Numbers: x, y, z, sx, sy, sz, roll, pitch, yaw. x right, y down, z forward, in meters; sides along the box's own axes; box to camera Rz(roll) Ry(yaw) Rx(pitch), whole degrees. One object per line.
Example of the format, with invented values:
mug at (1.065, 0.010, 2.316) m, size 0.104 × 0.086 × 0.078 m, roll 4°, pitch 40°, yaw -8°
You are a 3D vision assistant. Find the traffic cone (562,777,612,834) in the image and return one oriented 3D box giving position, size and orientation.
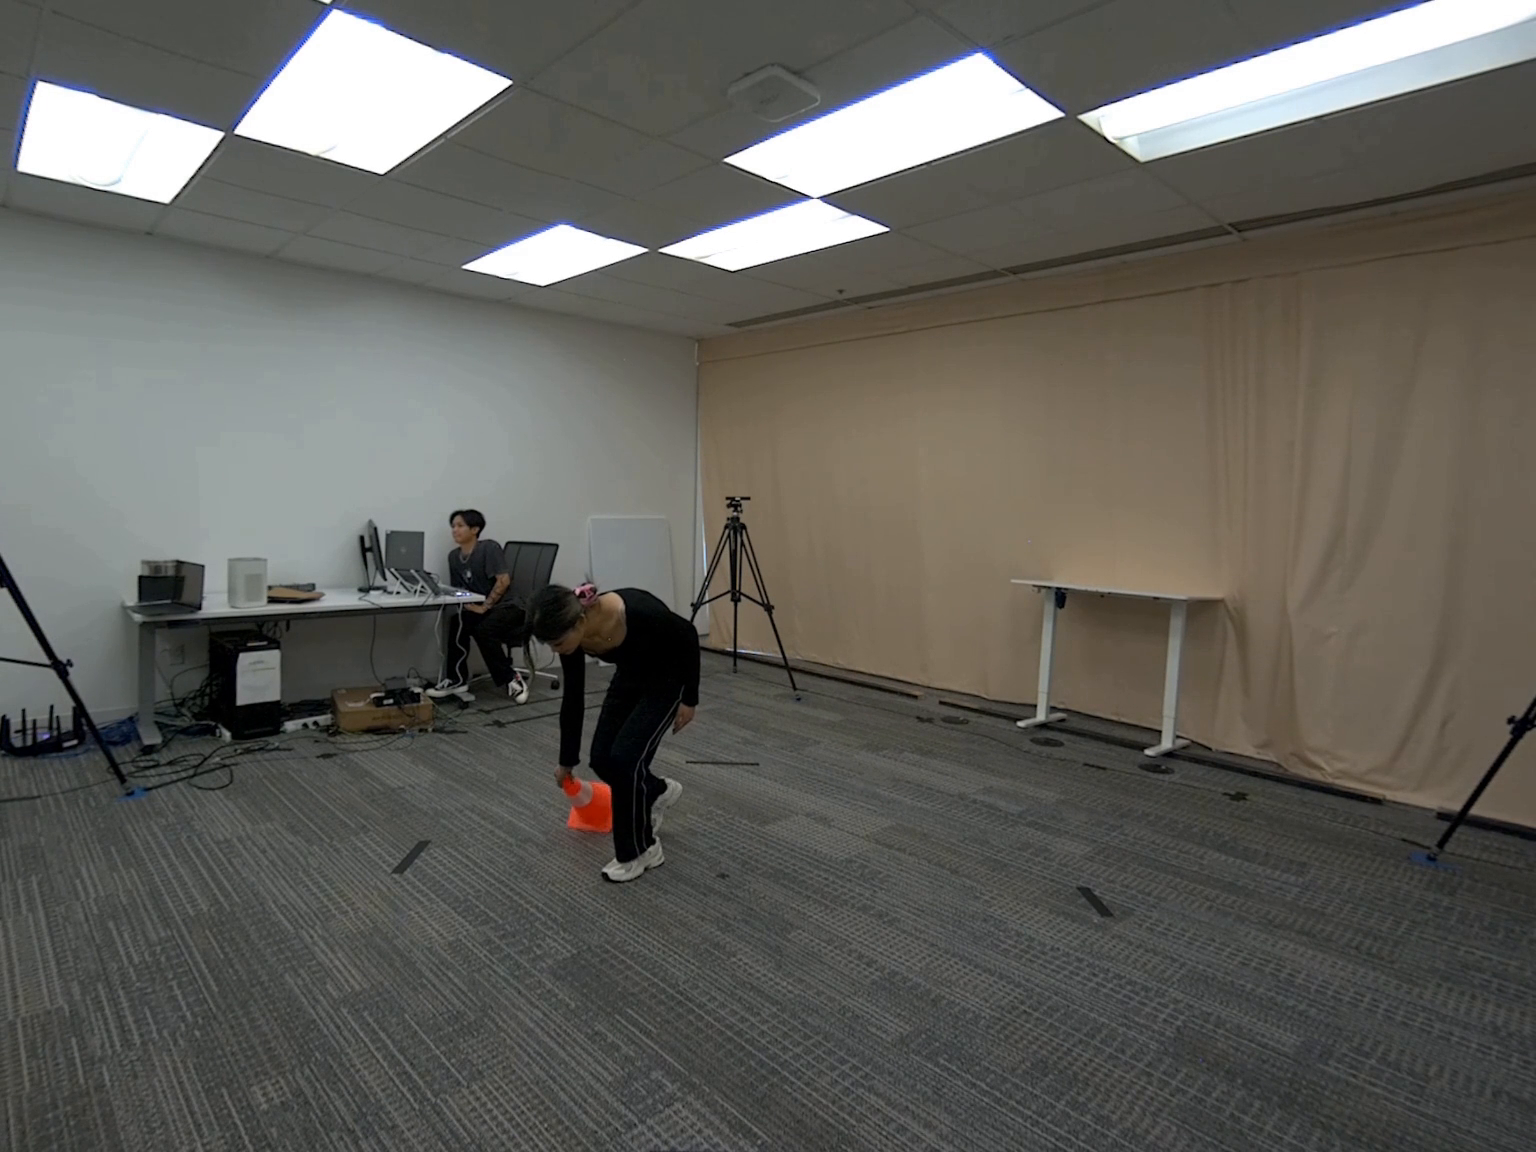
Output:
traffic cone at (-0.774, 0.874, 3.410) m, size 0.207 × 0.206 × 0.373 m, roll 2°, pitch -33°, yaw 14°
